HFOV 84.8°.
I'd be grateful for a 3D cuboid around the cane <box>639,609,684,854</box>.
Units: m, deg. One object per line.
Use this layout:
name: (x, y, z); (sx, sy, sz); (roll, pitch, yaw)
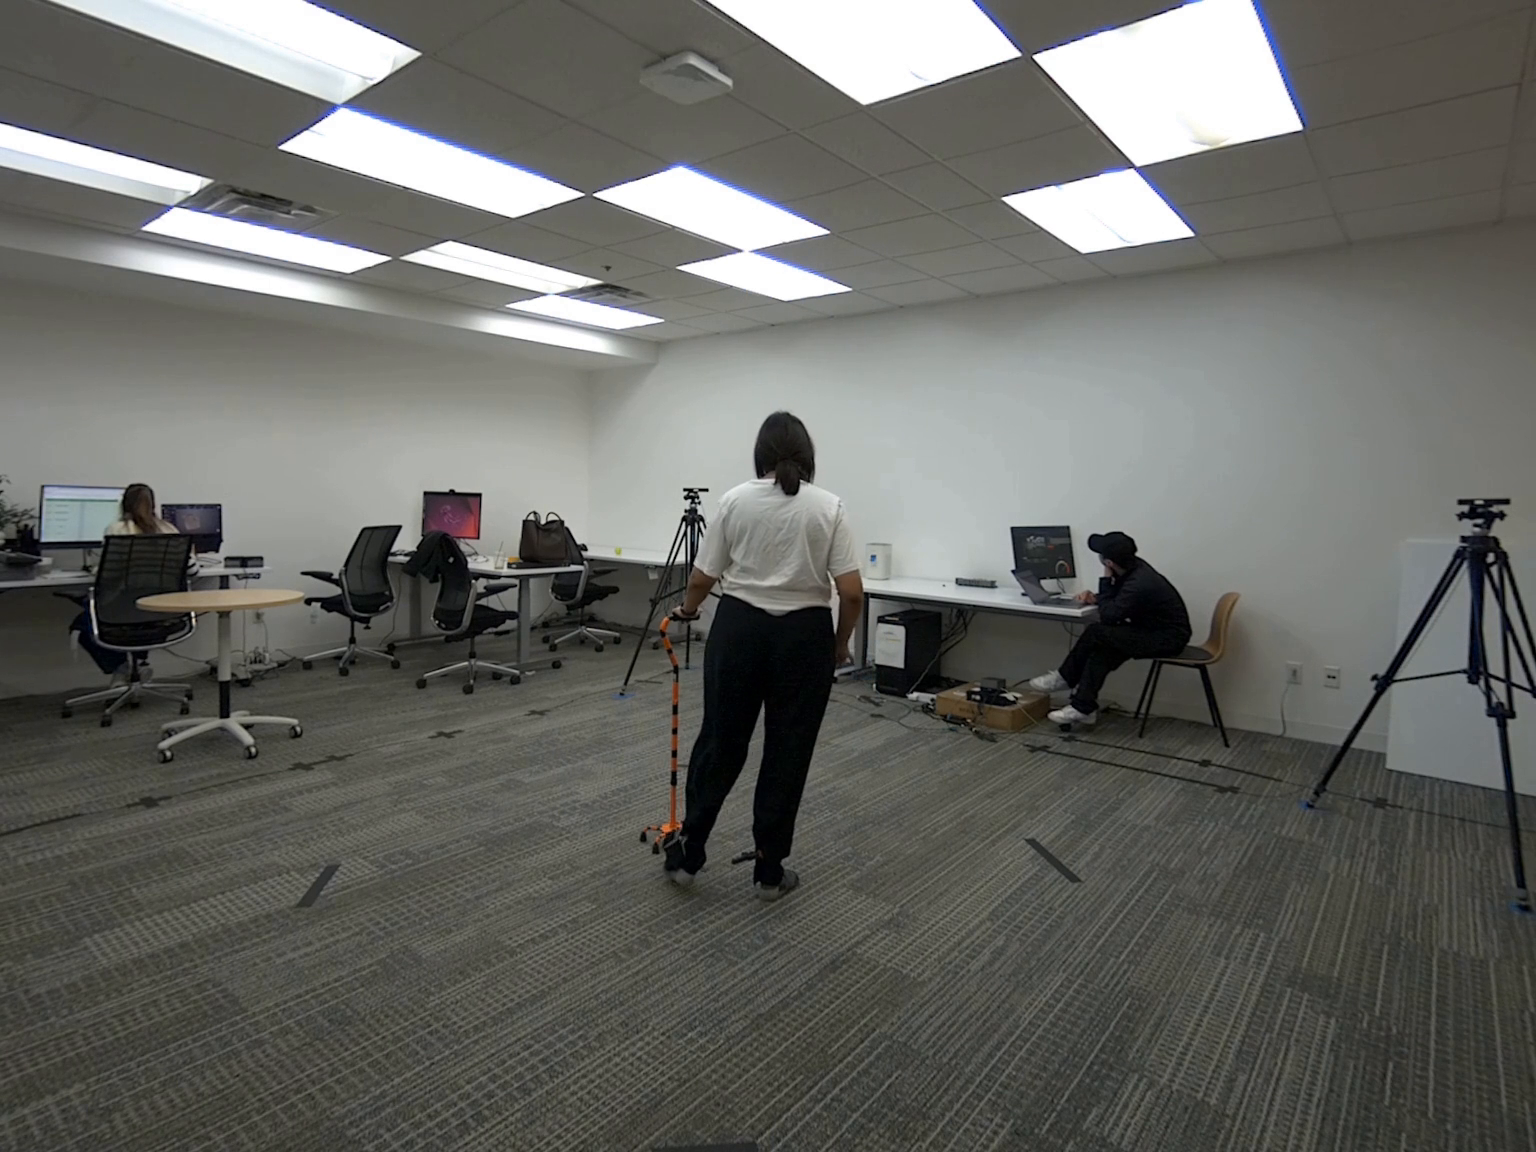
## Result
cane: (-0.386, 0.591, 3.315); (0.201, 0.905, 0.156); (-1, 3, -31)
